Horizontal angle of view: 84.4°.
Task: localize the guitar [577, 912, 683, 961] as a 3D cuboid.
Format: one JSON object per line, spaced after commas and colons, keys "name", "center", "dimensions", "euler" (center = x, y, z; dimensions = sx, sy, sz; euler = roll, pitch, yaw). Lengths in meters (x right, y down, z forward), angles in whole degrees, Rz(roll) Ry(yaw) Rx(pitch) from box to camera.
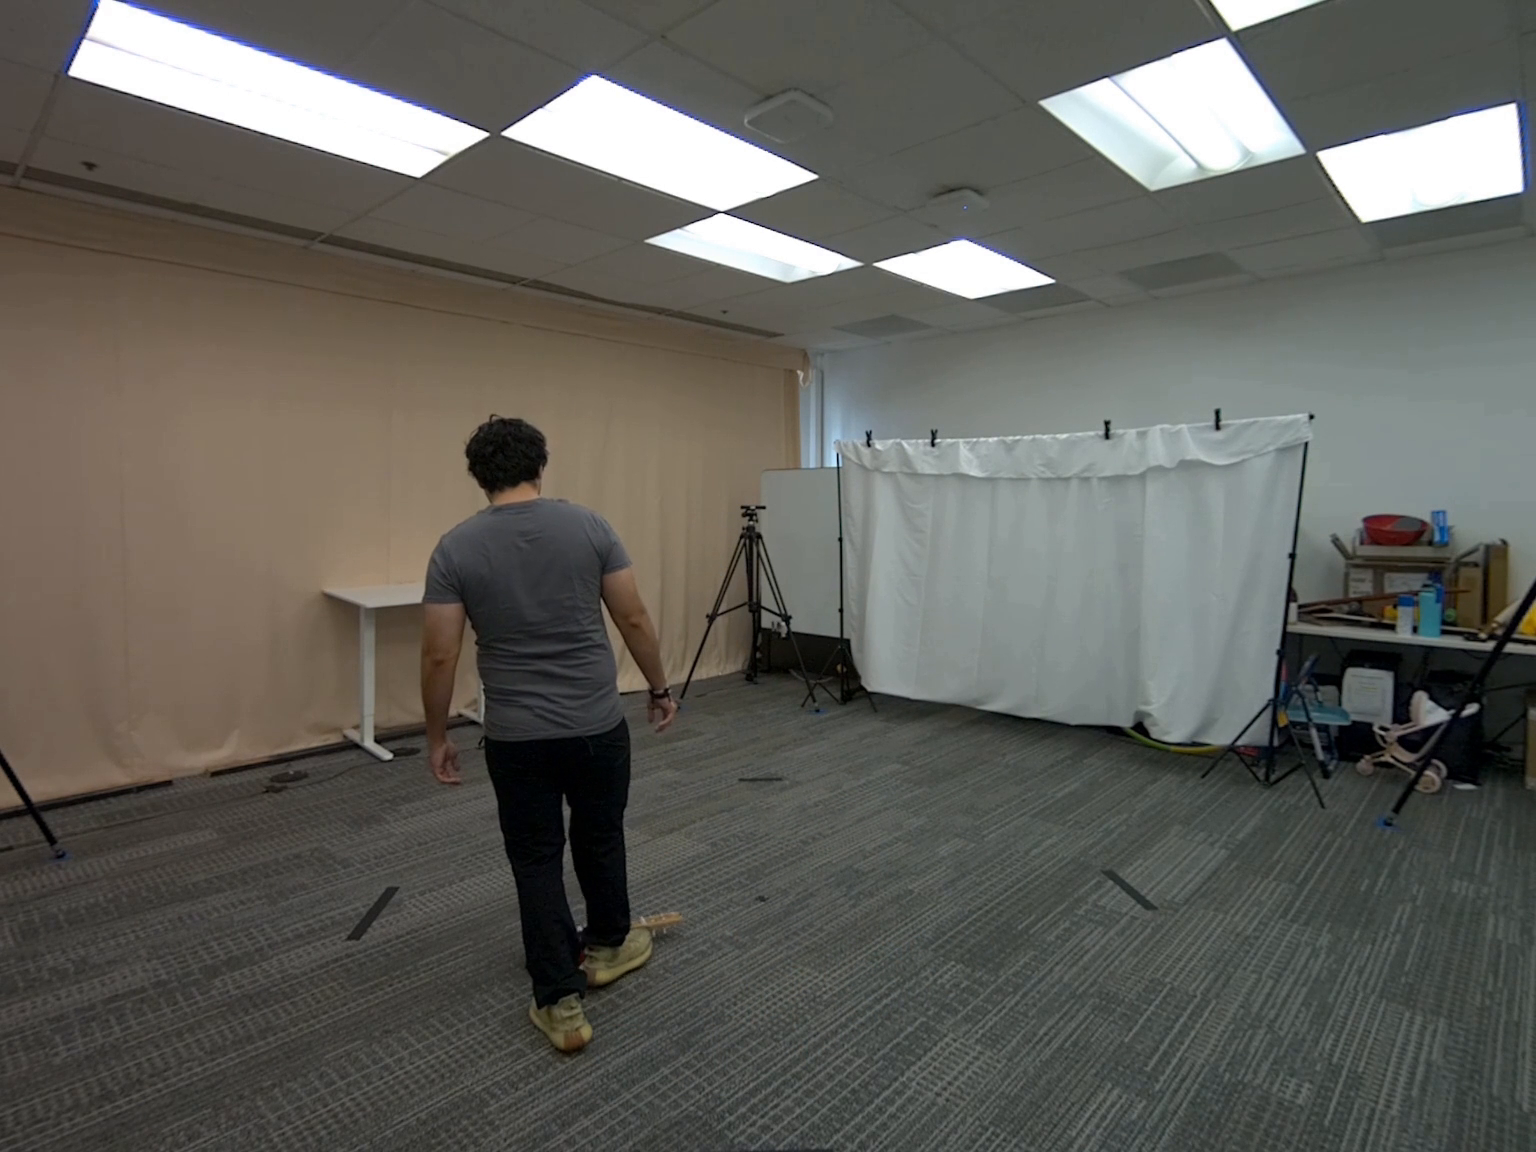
{"name": "guitar", "center": [-0.501, 1.146, 2.617], "dimensions": [0.492, 0.070, 0.196], "euler": [-2, 5, -11]}
